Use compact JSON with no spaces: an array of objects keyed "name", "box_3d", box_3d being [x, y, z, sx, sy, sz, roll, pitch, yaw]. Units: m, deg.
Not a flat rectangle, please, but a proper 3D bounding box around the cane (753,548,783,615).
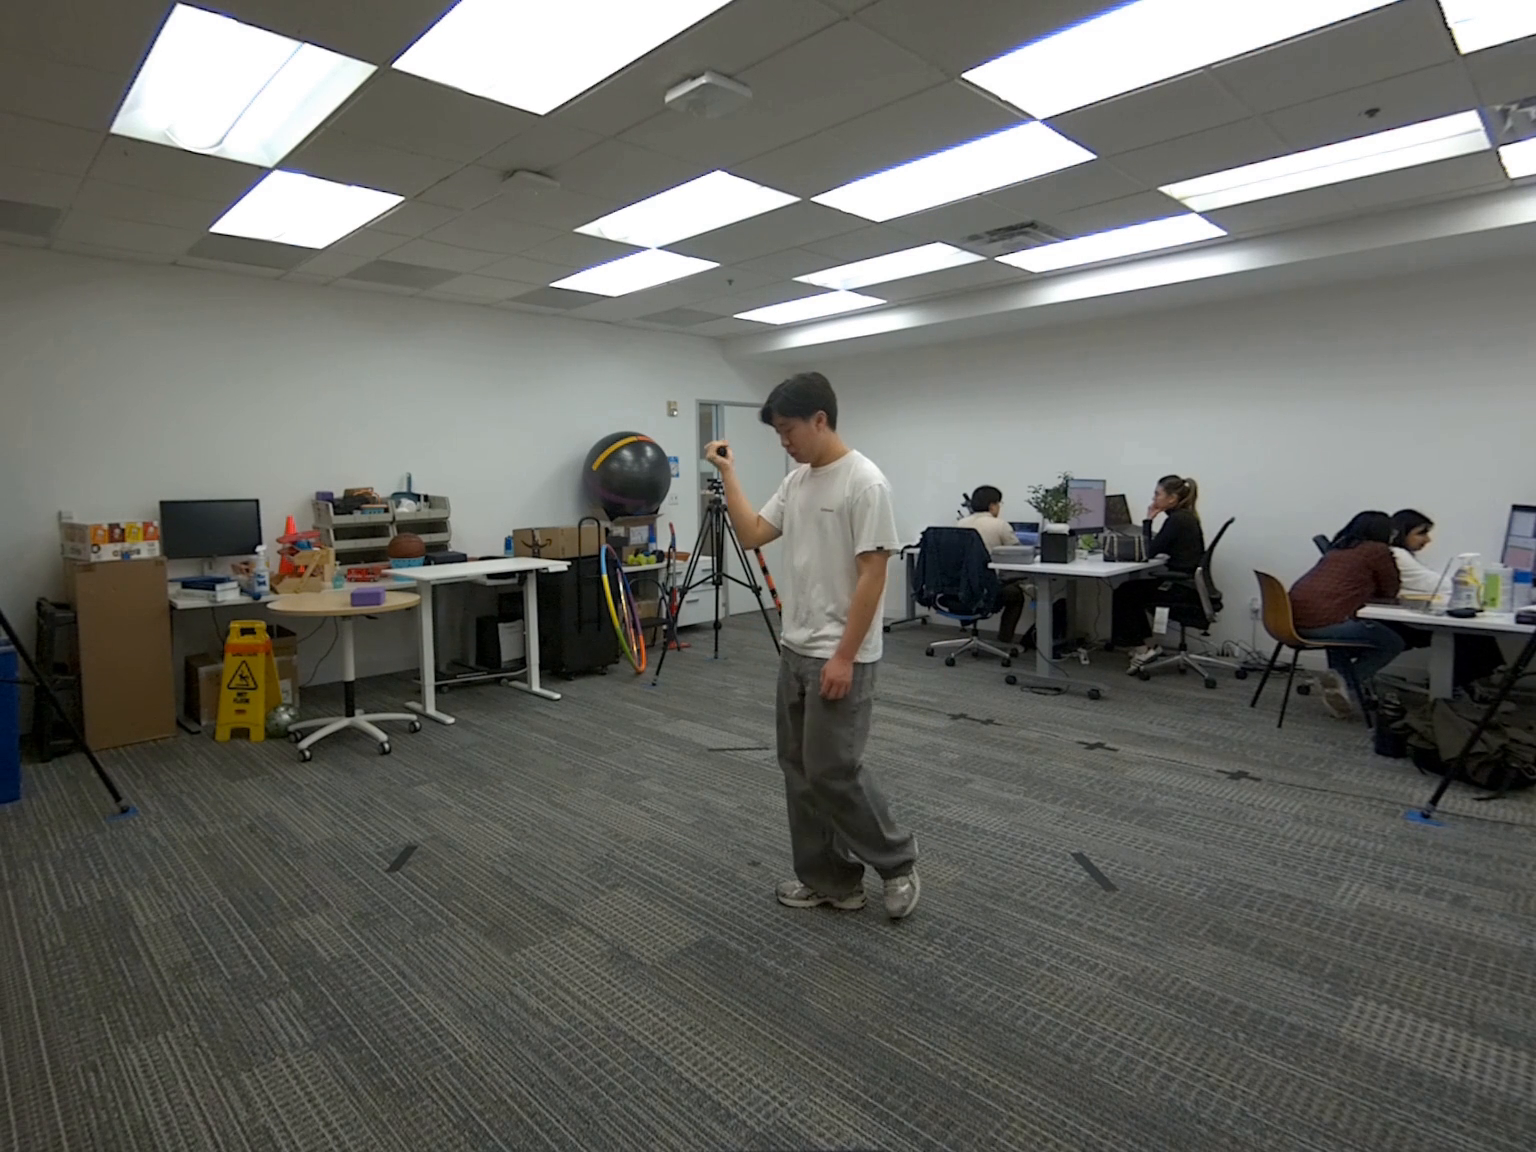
[{"name":"cane","box_3d":[-0.010,-0.026,3.005,0.152,0.900,0.208,-18,8,4]}]
